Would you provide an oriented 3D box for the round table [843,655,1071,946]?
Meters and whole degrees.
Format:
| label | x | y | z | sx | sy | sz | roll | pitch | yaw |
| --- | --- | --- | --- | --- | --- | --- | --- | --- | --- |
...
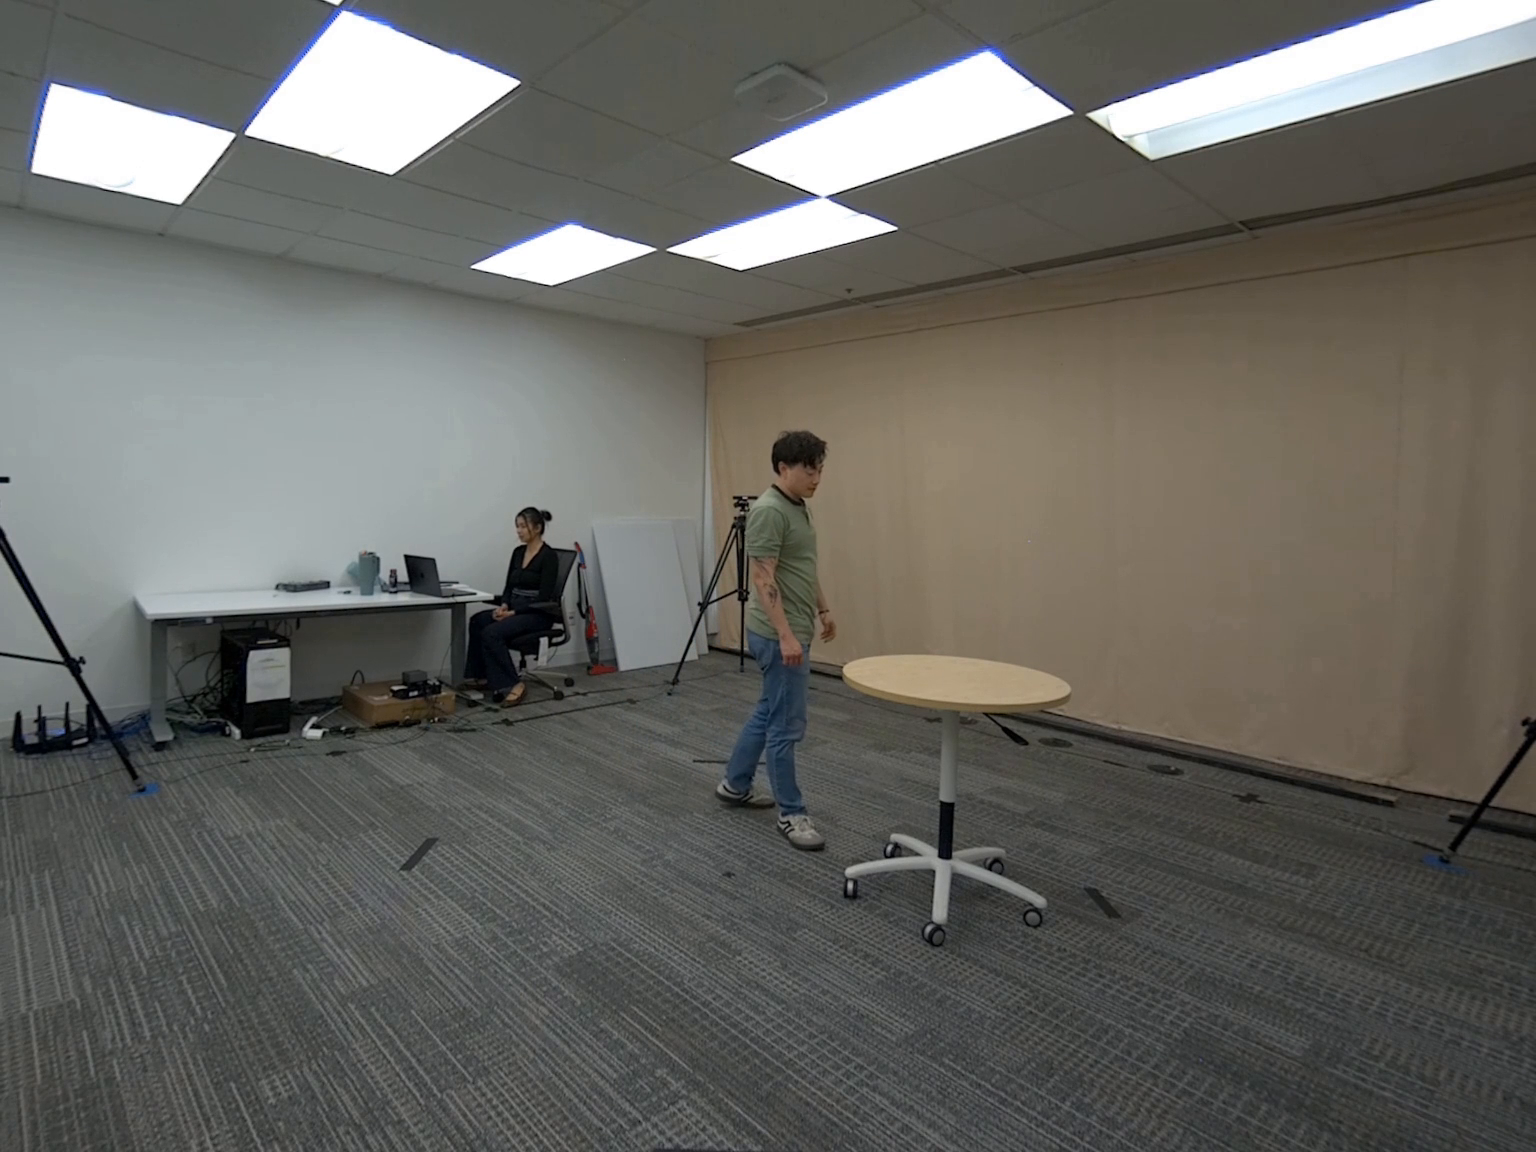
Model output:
| label | x | y | z | sx | sy | sz | roll | pitch | yaw |
| --- | --- | --- | --- | --- | --- | --- | --- | --- | --- |
| round table | 0.623 | 0.743 | 2.960 | 0.763 | 0.791 | 0.767 | 2 | 5 | -2 |
